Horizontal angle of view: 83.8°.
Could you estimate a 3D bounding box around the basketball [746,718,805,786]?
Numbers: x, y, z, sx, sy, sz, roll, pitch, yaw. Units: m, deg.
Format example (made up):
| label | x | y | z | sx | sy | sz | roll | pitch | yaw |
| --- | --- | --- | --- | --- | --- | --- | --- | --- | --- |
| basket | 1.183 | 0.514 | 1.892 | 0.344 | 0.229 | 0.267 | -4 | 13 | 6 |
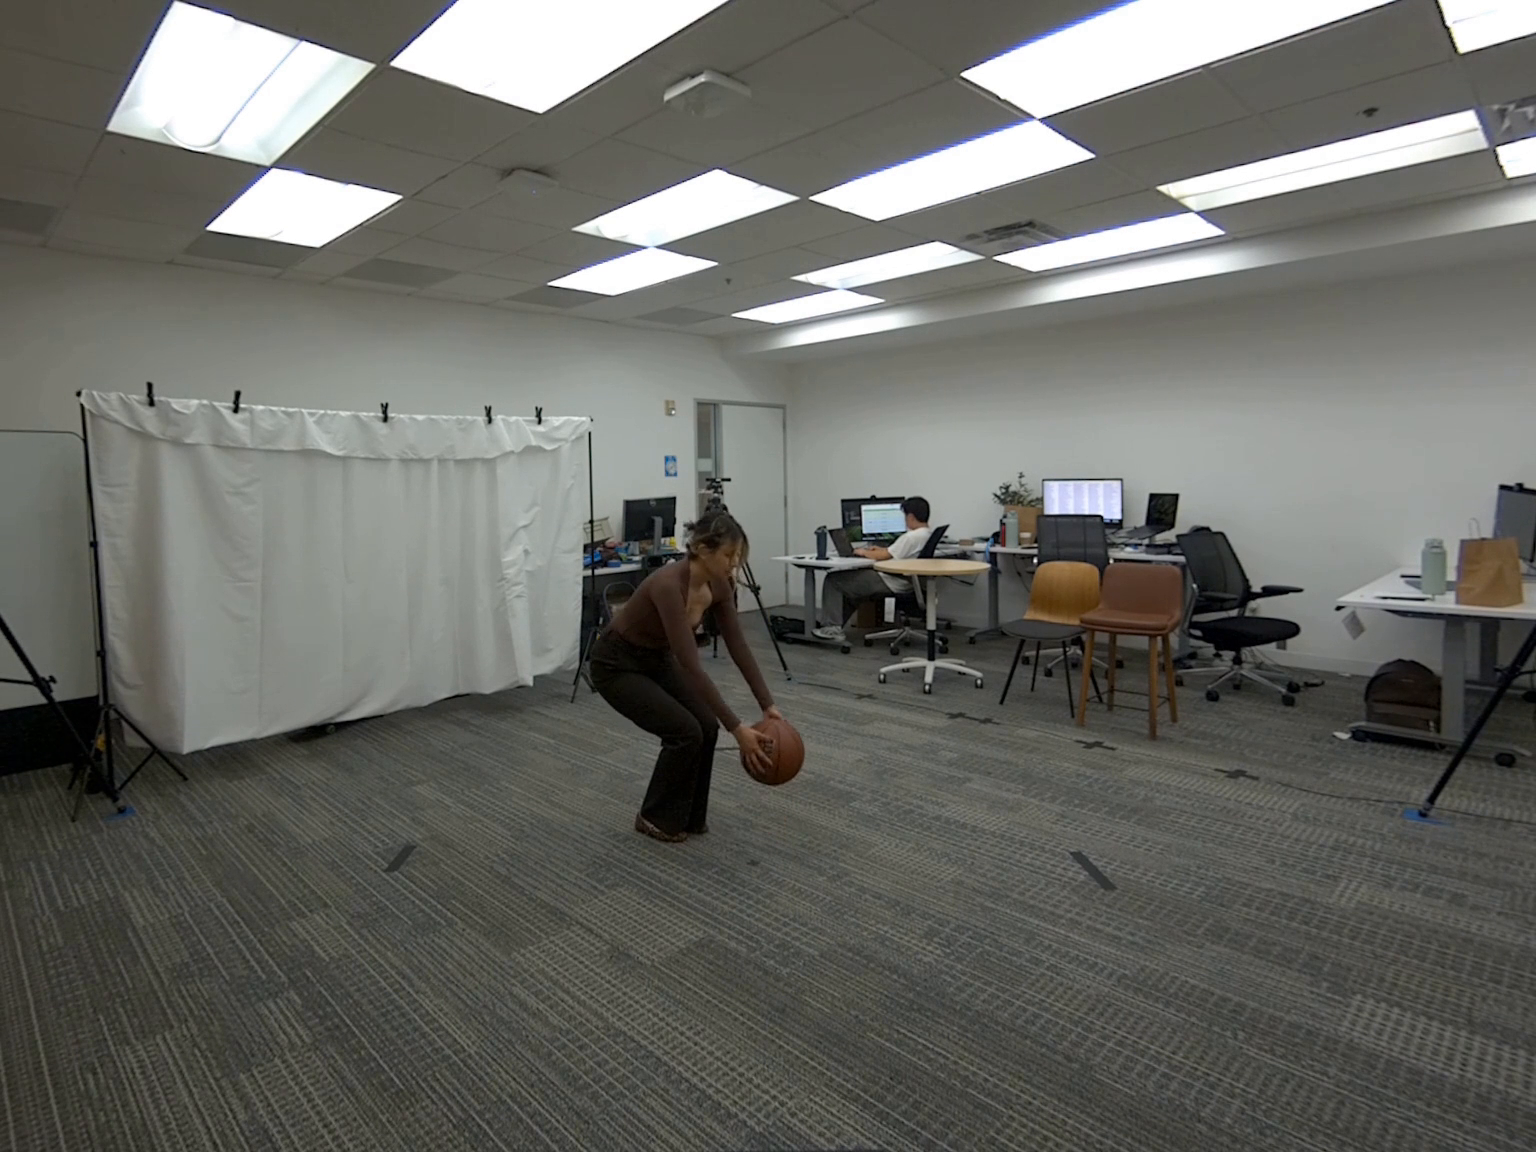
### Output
| label | x | y | z | sx | sy | sz | roll | pitch | yaw |
| --- | --- | --- | --- | --- | --- | --- | --- | --- | --- |
| basketball | 0.020 | 0.633 | 3.133 | 0.236 | 0.235 | 0.237 | -1 | 5 | -2 |
